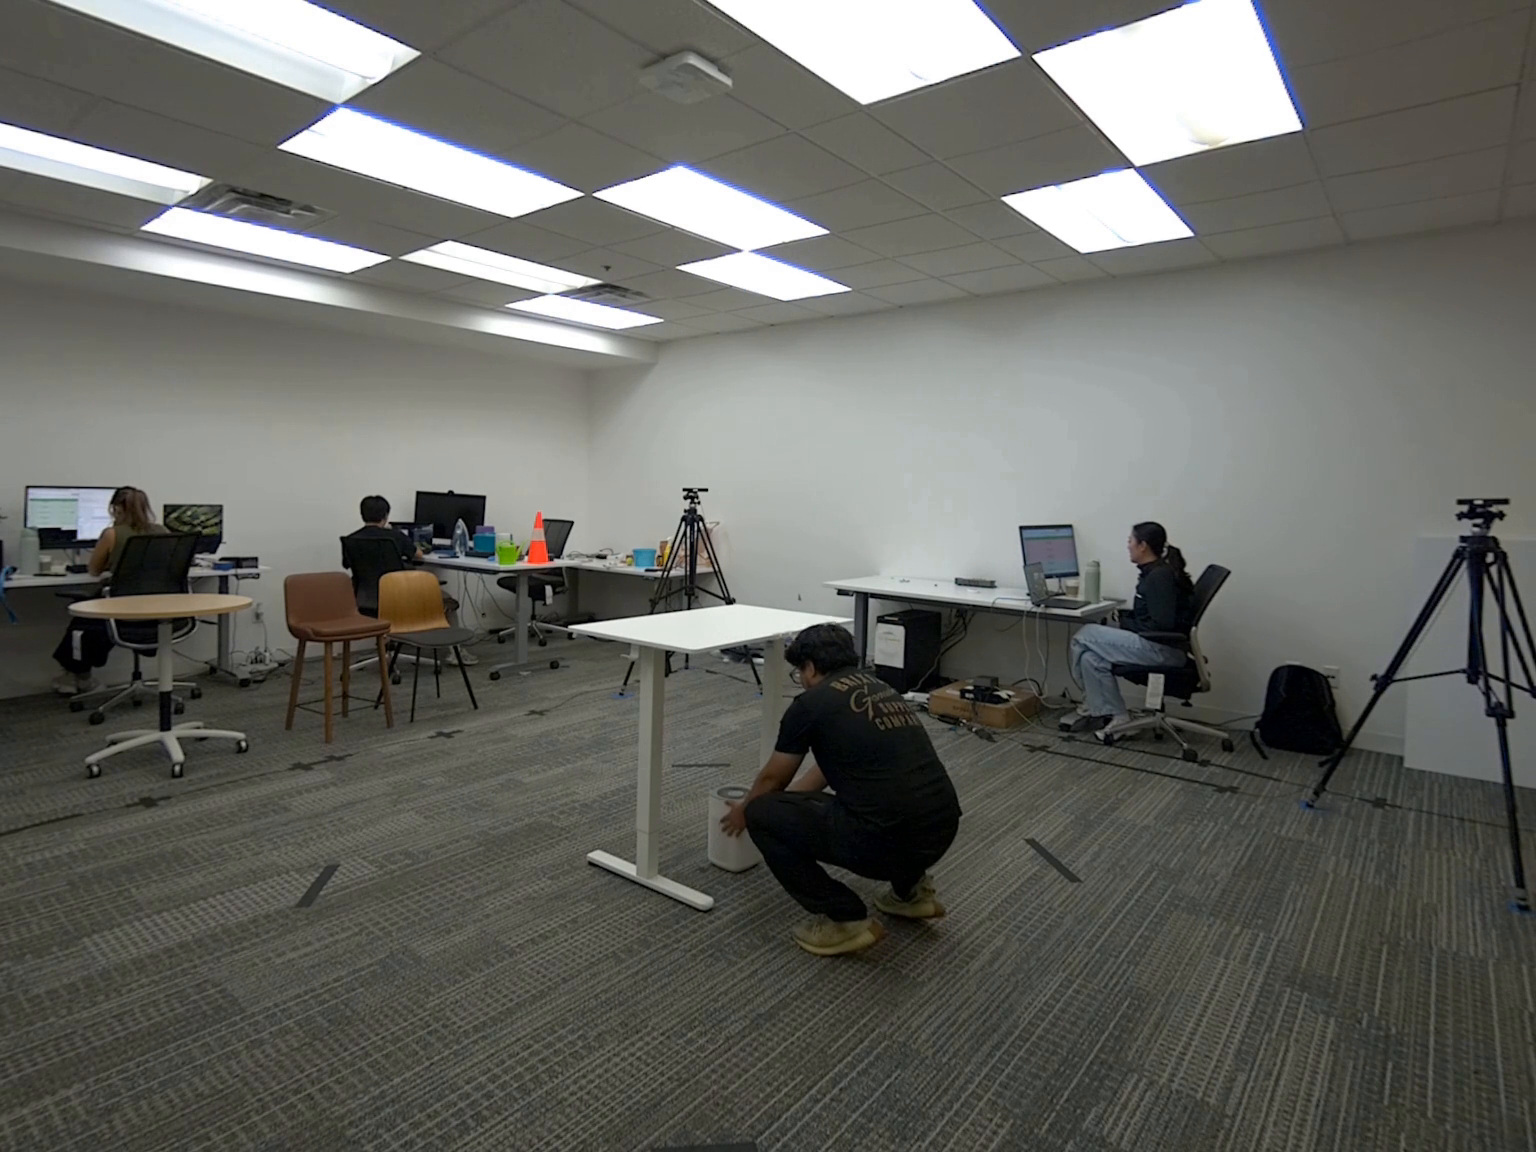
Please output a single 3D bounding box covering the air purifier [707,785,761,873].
[{"bbox_3d":[-0.132,0.930,3.159,0.177,0.265,0.166,3,4,39],"label":"air purifier"}]
